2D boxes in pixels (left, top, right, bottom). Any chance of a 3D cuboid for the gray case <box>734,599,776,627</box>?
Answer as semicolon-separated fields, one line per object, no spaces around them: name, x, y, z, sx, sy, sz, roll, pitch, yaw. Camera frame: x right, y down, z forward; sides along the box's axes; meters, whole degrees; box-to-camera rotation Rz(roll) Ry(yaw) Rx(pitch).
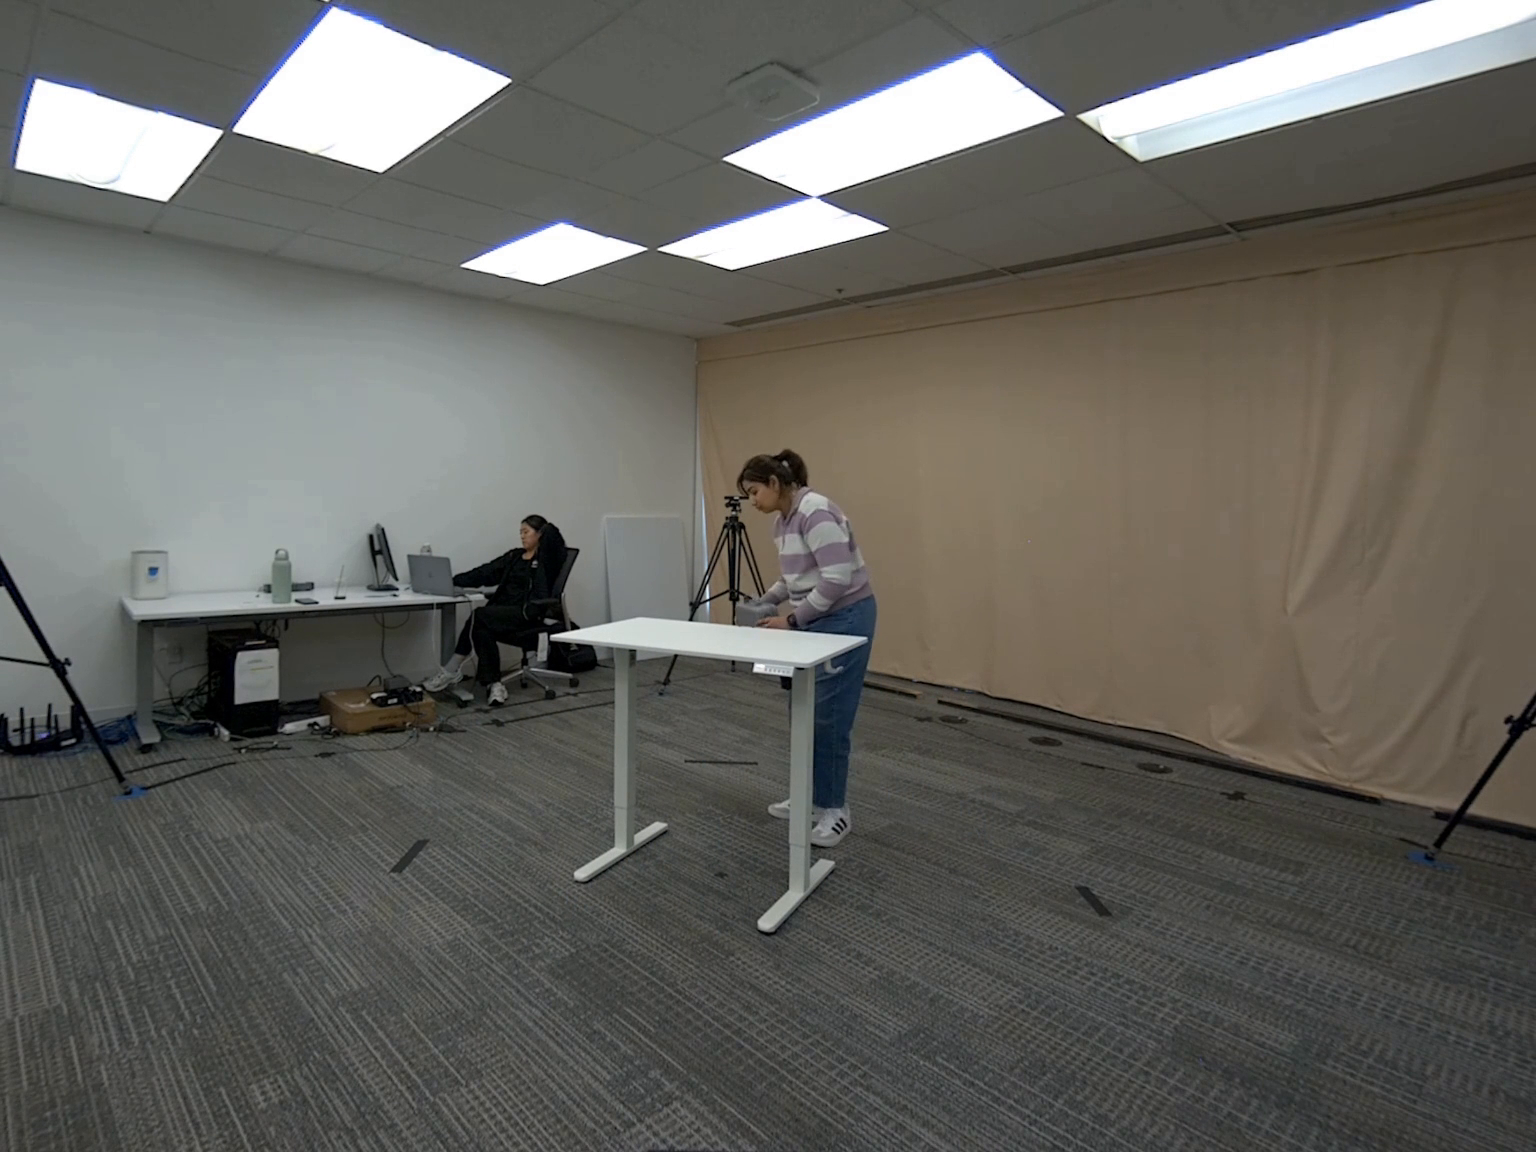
gray case;-0.040;0.238;3.571;0.103;0.259;0.262;-12;8;-25
